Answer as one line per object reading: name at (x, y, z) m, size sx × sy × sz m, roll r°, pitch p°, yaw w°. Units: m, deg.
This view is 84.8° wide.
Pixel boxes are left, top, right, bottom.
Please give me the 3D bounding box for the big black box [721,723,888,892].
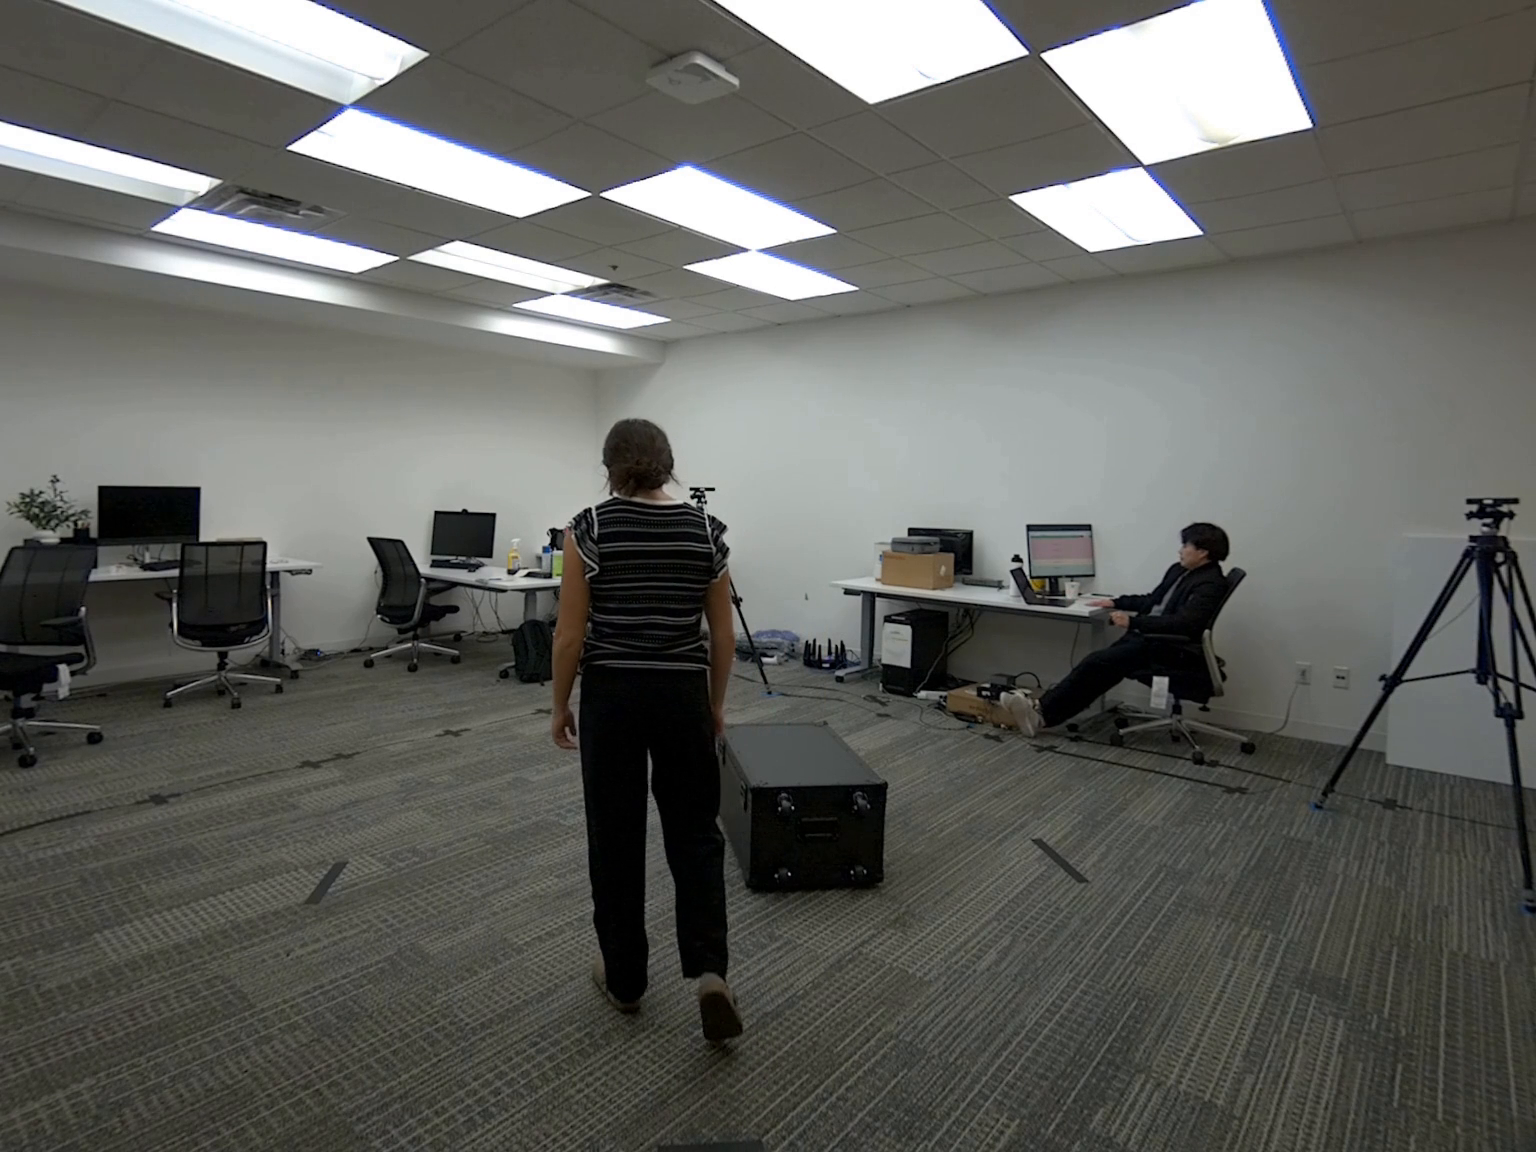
big black box at (0.089, 0.861, 3.286) m, size 0.515 × 0.395 × 0.874 m, roll 0°, pitch 5°, yaw -11°
